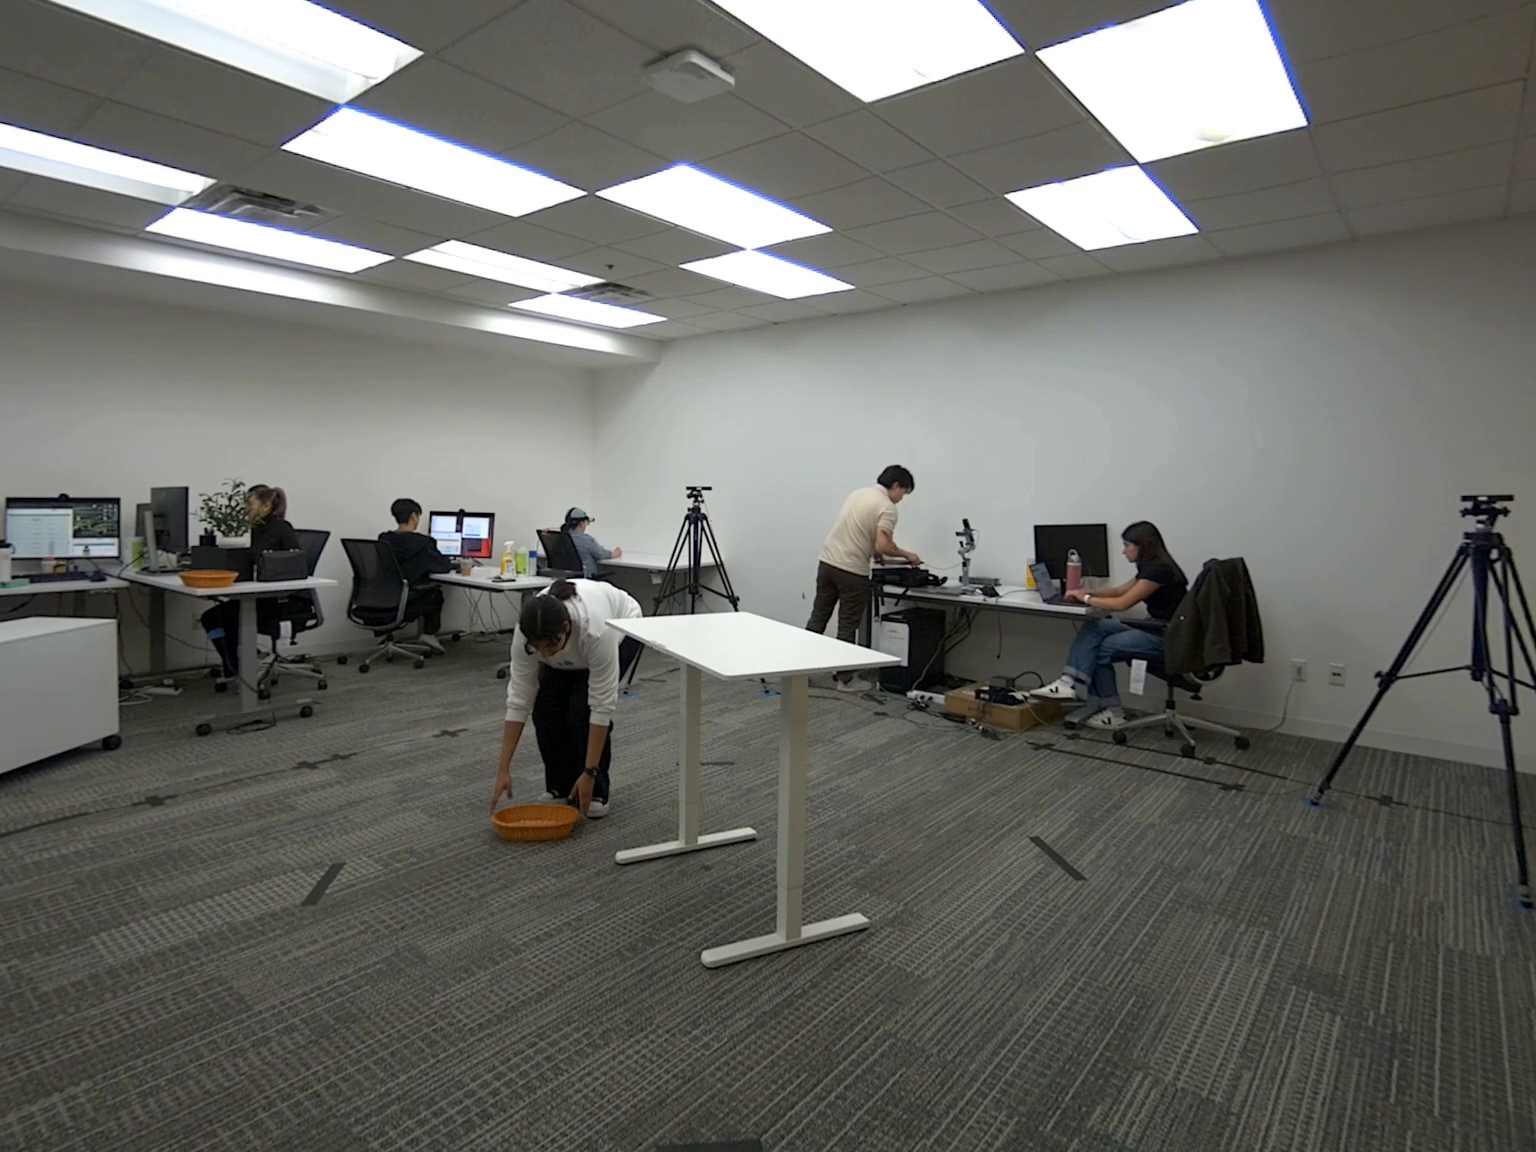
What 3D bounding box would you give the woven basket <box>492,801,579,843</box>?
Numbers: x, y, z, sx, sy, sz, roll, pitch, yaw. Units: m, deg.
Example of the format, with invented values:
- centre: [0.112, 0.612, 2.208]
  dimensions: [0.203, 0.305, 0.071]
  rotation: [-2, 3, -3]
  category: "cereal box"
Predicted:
- centre: [-0.942, 0.983, 3.411]
  dimensions: [0.351, 0.073, 0.252]
  rotation: [0, 4, 2]
  category: "woven basket"
